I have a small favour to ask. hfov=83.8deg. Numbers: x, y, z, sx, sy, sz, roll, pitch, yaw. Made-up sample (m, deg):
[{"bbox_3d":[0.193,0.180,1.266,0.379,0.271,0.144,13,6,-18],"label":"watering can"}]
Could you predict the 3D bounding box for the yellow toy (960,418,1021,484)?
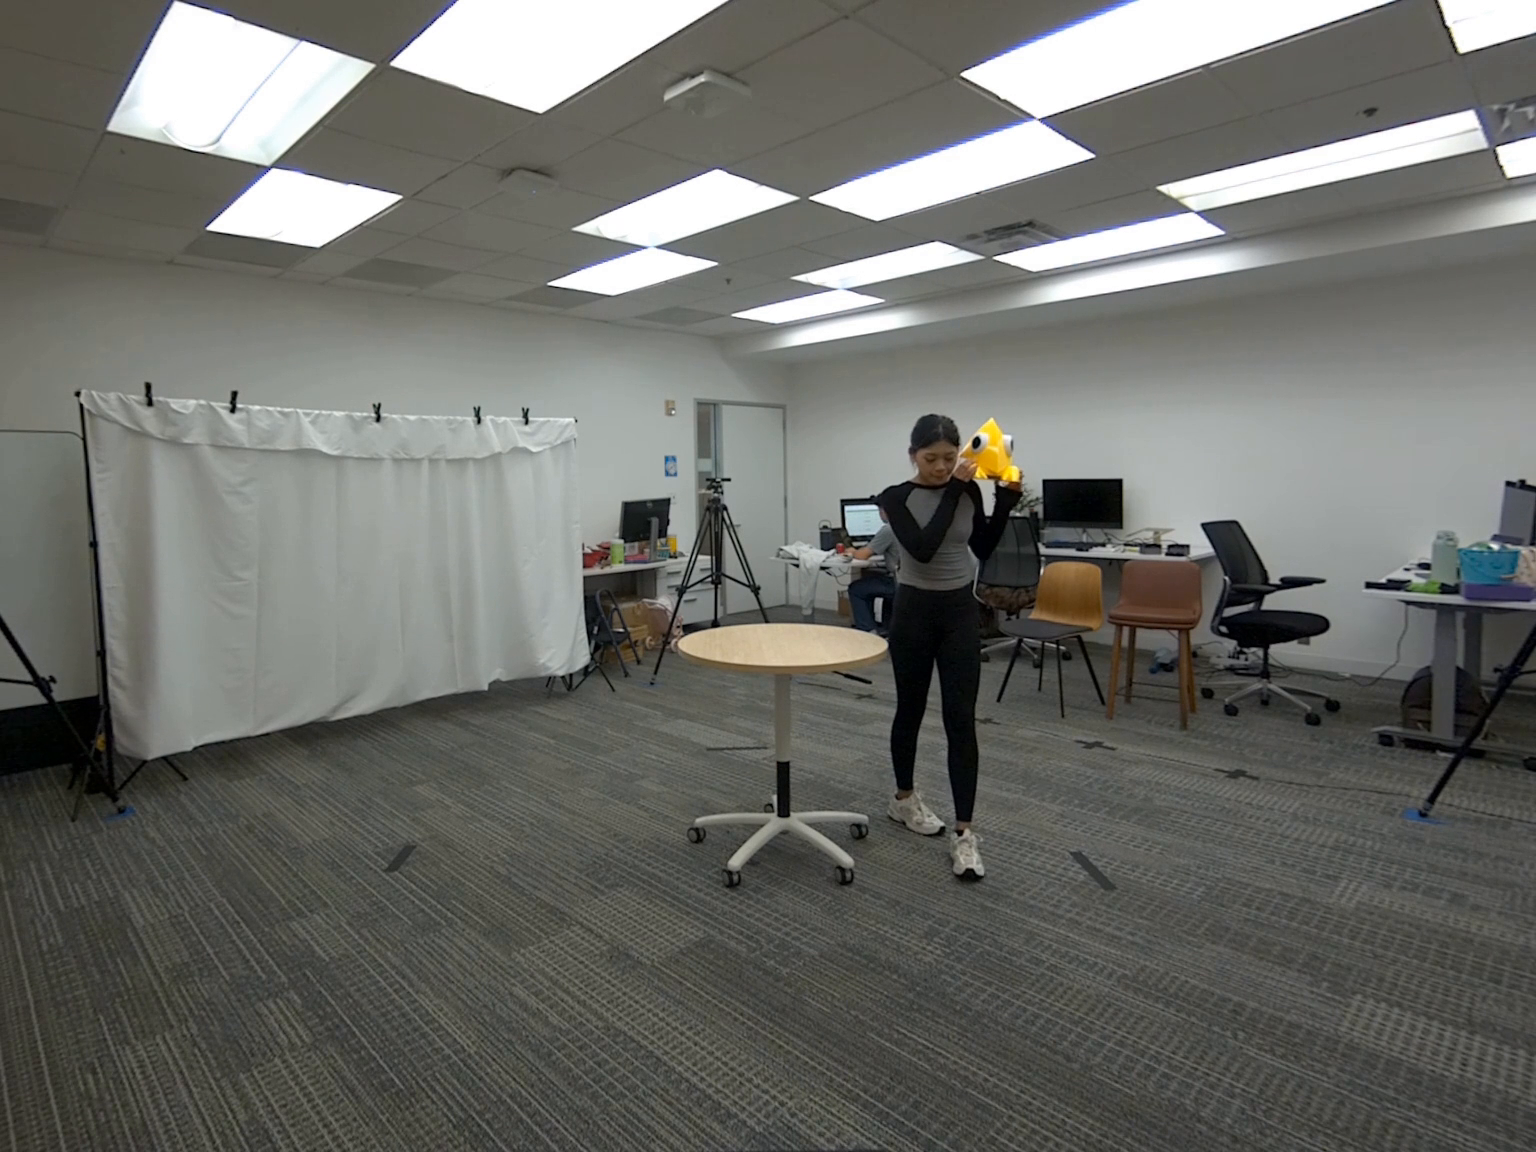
[{"bbox_3d":[0.818,-0.466,3.115,0.205,0.230,0.194,5,3,-1],"label":"yellow toy"}]
